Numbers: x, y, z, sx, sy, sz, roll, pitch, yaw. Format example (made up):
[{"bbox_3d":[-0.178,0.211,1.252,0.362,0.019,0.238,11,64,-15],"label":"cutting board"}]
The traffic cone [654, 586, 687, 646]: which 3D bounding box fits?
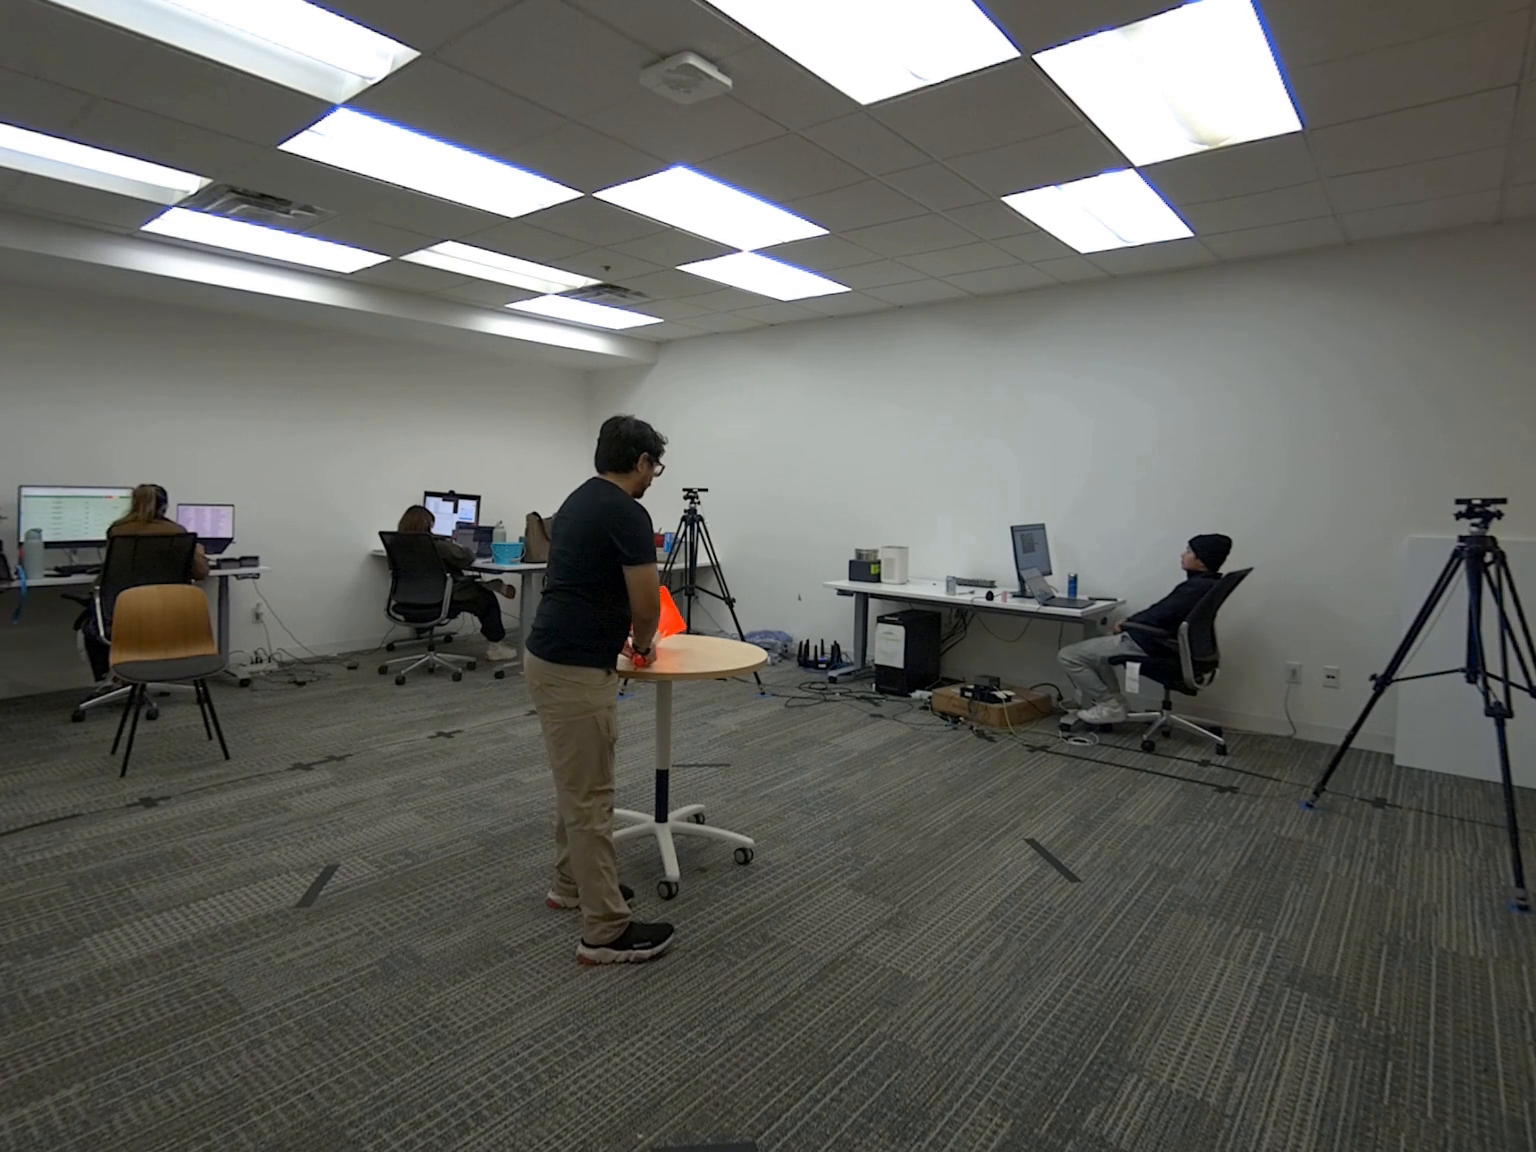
[{"bbox_3d":[-0.445,0.225,3.041,0.206,0.198,0.392,-33,20,10],"label":"traffic cone"}]
